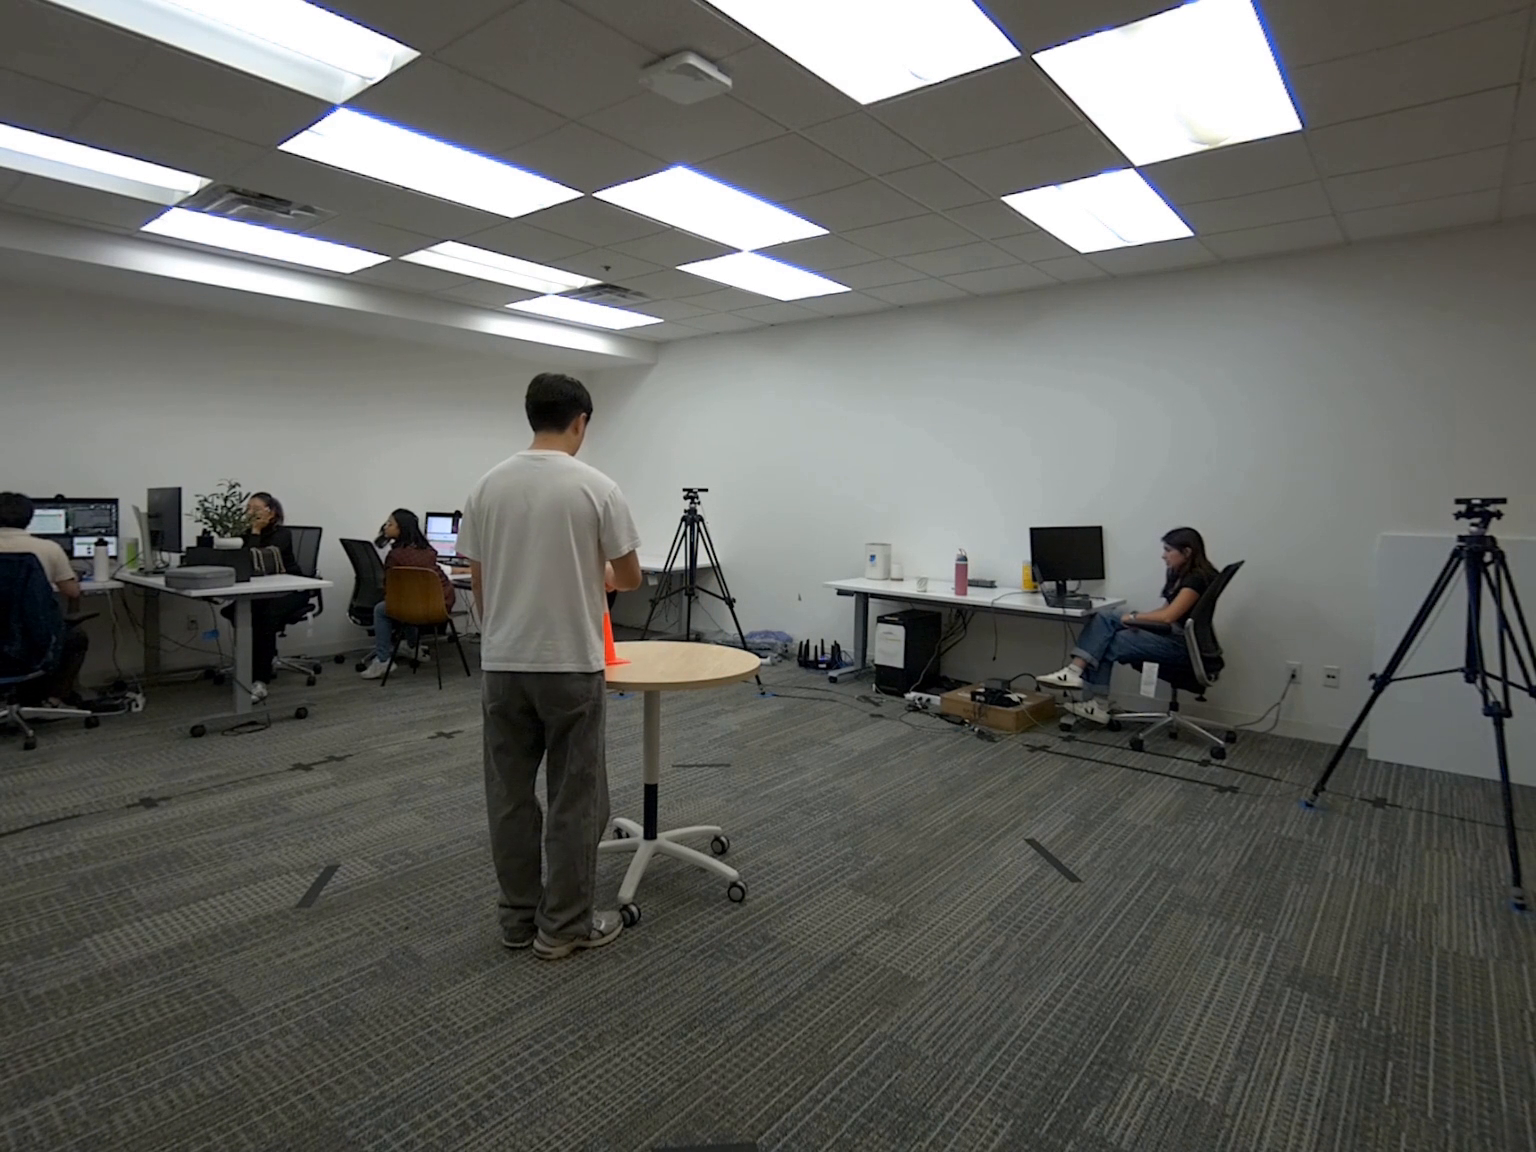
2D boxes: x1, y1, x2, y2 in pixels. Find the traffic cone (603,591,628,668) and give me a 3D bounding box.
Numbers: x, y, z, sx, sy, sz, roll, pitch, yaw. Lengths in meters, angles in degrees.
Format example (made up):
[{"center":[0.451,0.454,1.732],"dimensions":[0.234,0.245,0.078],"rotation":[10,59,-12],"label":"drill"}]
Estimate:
[{"center":[-0.597,0.093,2.965],"dimensions":[0.210,0.383,0.199],"rotation":[2,1,22],"label":"traffic cone"}]
